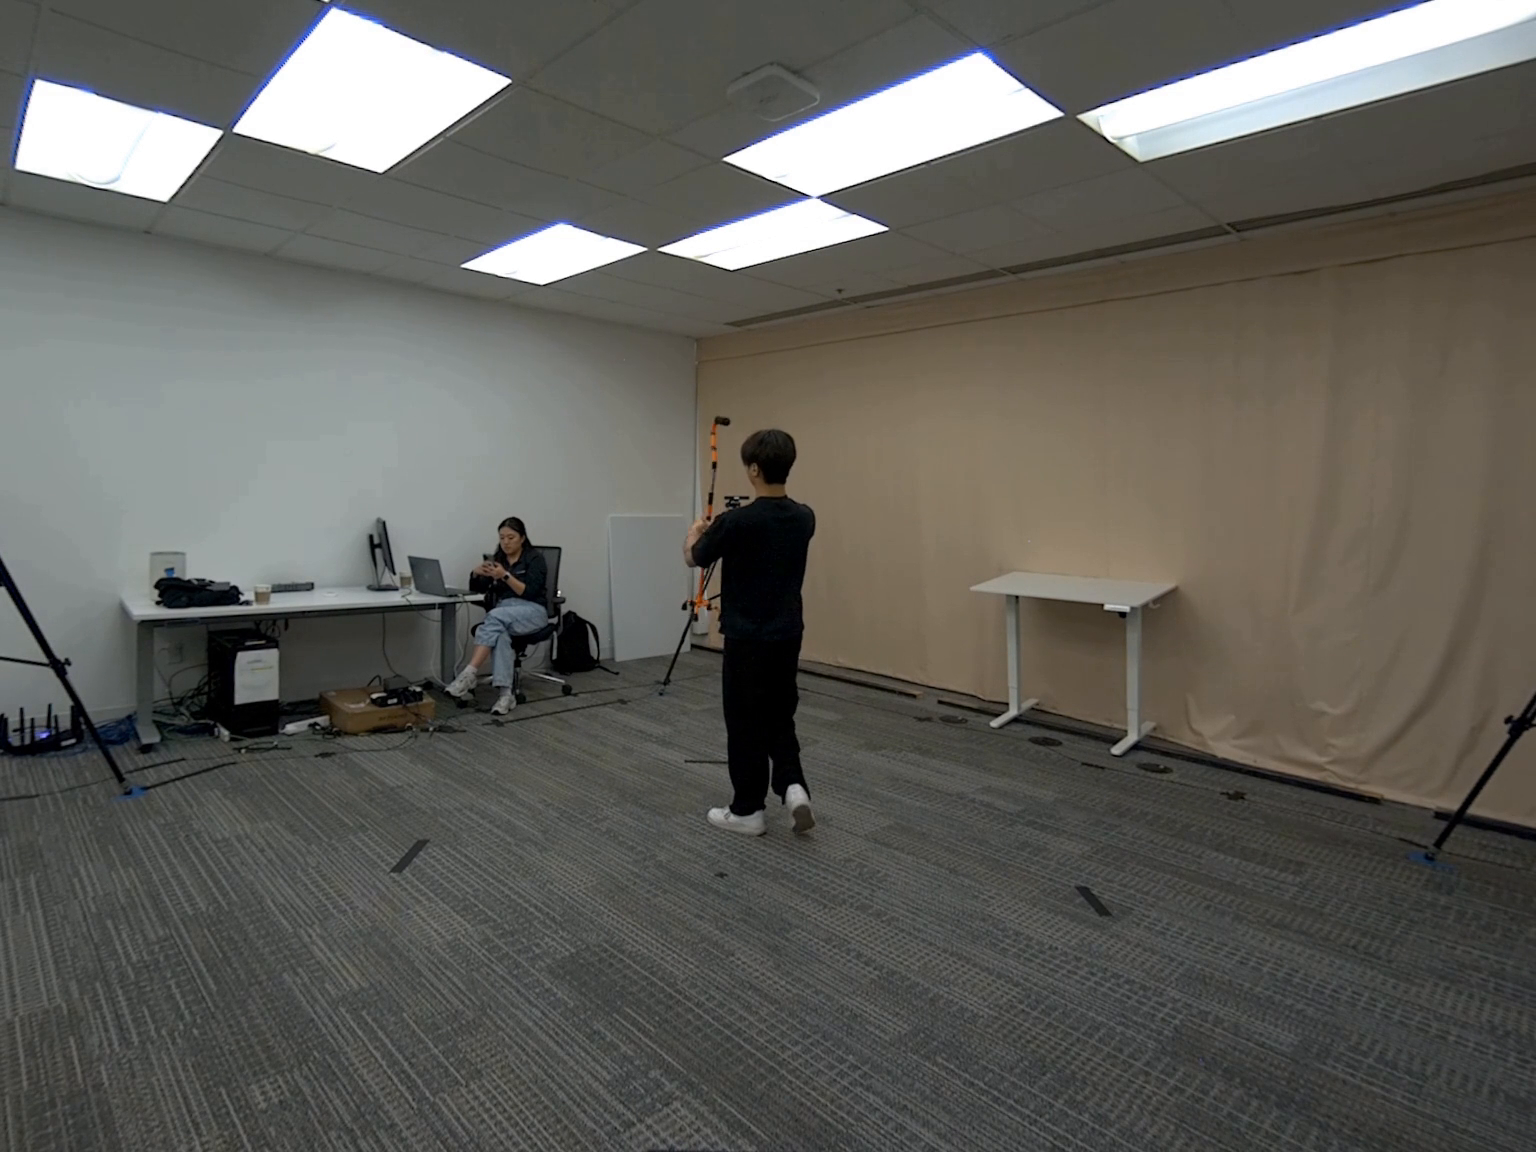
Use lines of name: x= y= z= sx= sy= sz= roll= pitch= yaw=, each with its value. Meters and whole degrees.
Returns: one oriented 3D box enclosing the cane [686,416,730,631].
cane: x=-0.255 y=-0.256 z=3.790 sx=0.149 sy=0.902 sz=0.211 roll=2 pitch=10 yaw=-22
